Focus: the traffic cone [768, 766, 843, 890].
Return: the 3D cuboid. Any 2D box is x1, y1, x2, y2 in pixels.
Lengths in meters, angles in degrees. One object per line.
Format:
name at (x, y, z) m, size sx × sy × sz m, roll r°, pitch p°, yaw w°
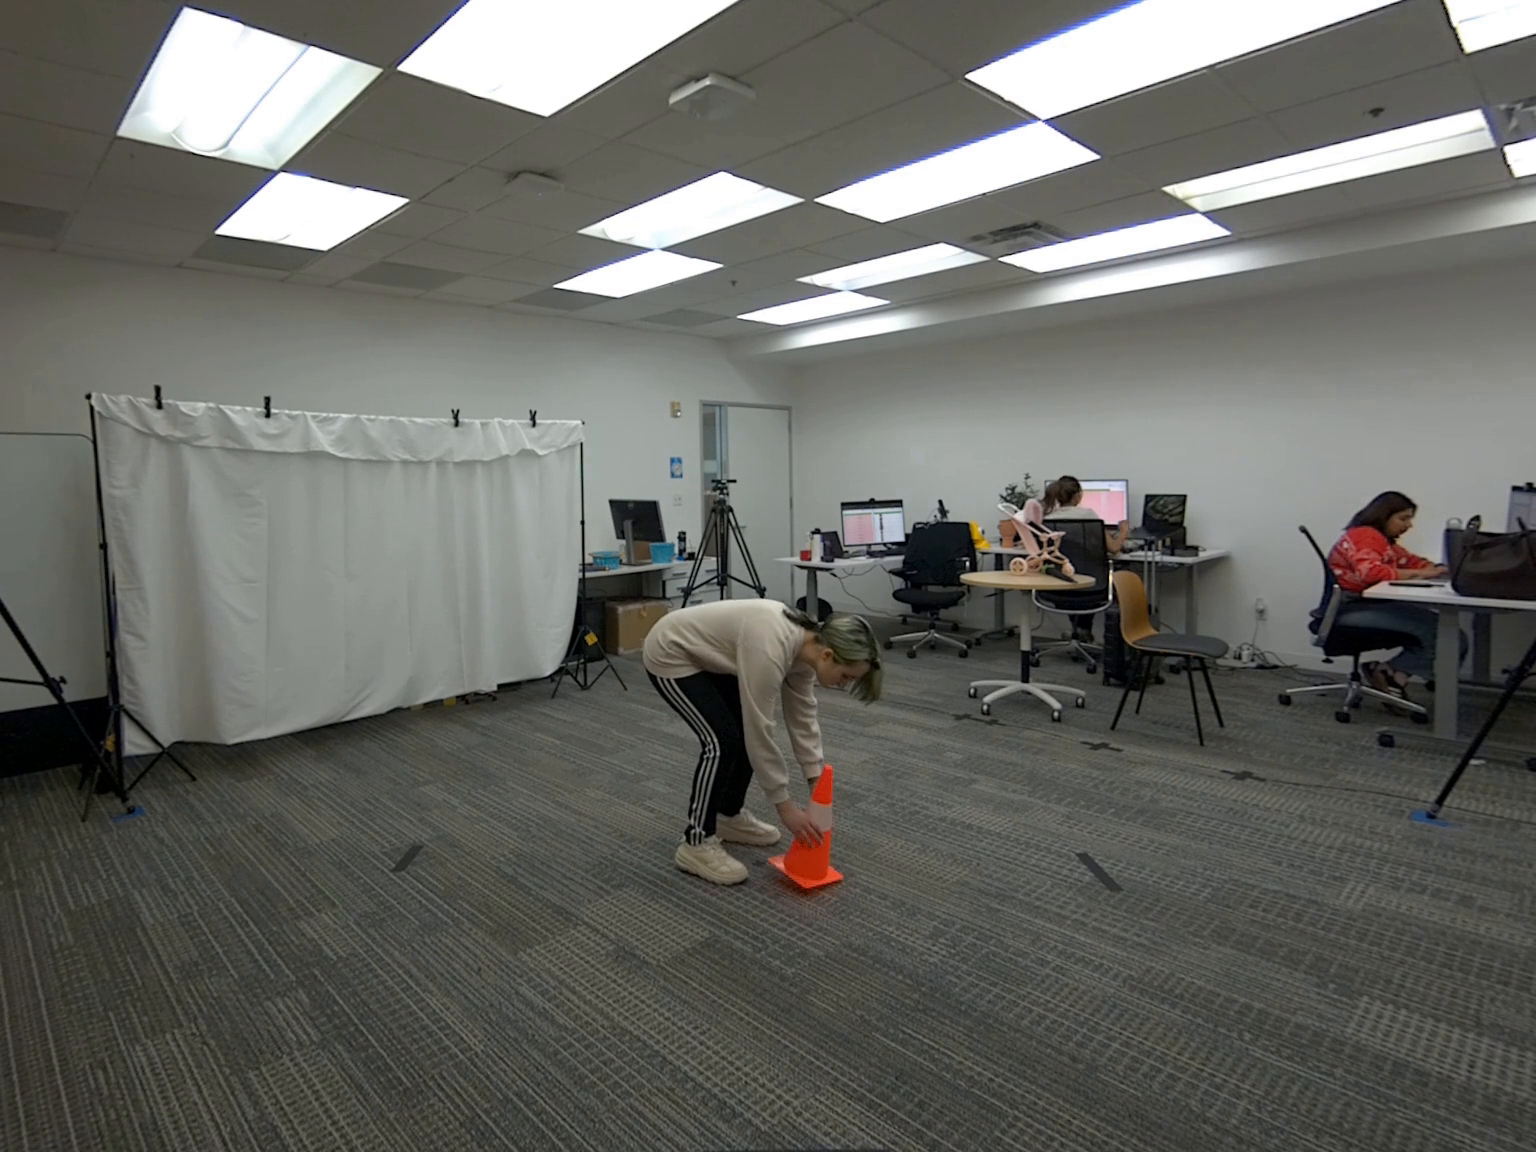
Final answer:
traffic cone at (0.168, 0.832, 2.935) m, size 0.199 × 0.381 × 0.210 m, roll 1°, pitch 11°, yaw -38°
